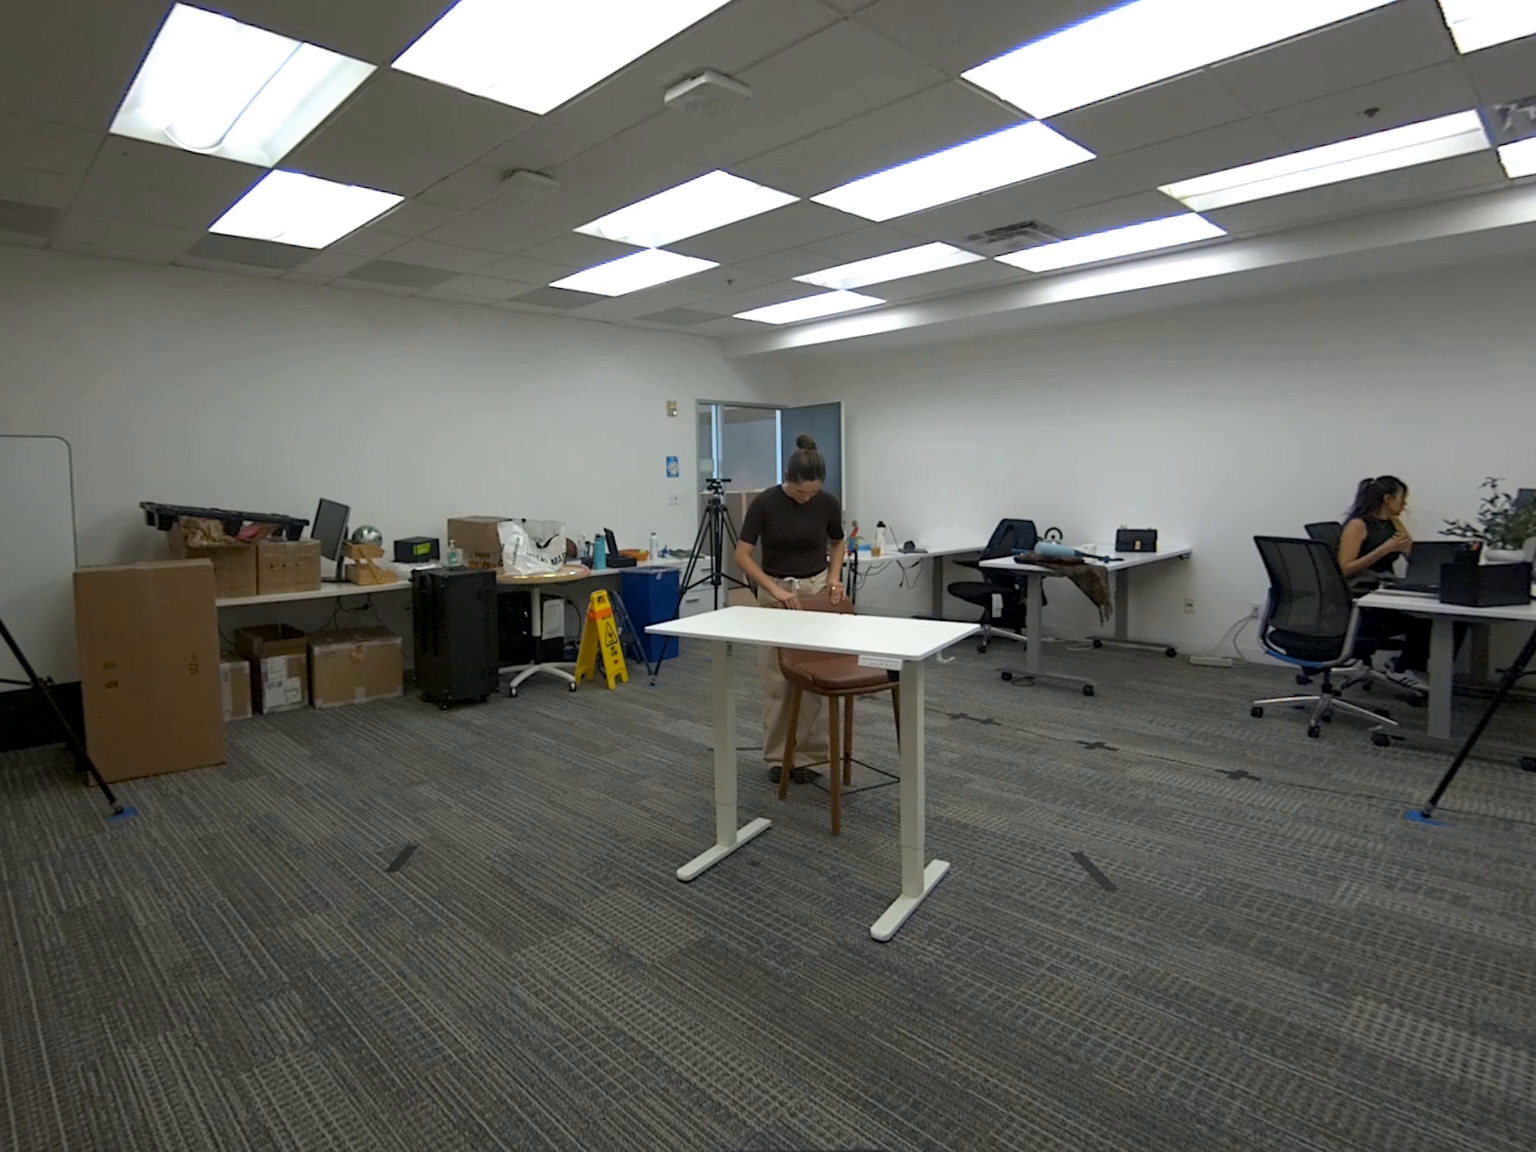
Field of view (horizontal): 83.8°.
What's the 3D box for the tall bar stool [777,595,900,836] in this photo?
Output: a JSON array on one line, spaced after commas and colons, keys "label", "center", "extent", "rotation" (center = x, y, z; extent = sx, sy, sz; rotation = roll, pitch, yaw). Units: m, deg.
[{"label": "tall bar stool", "center": [0.307, 0.545, 3.604], "extent": [0.446, 0.888, 0.479], "rotation": [-2, 2, -30]}]
